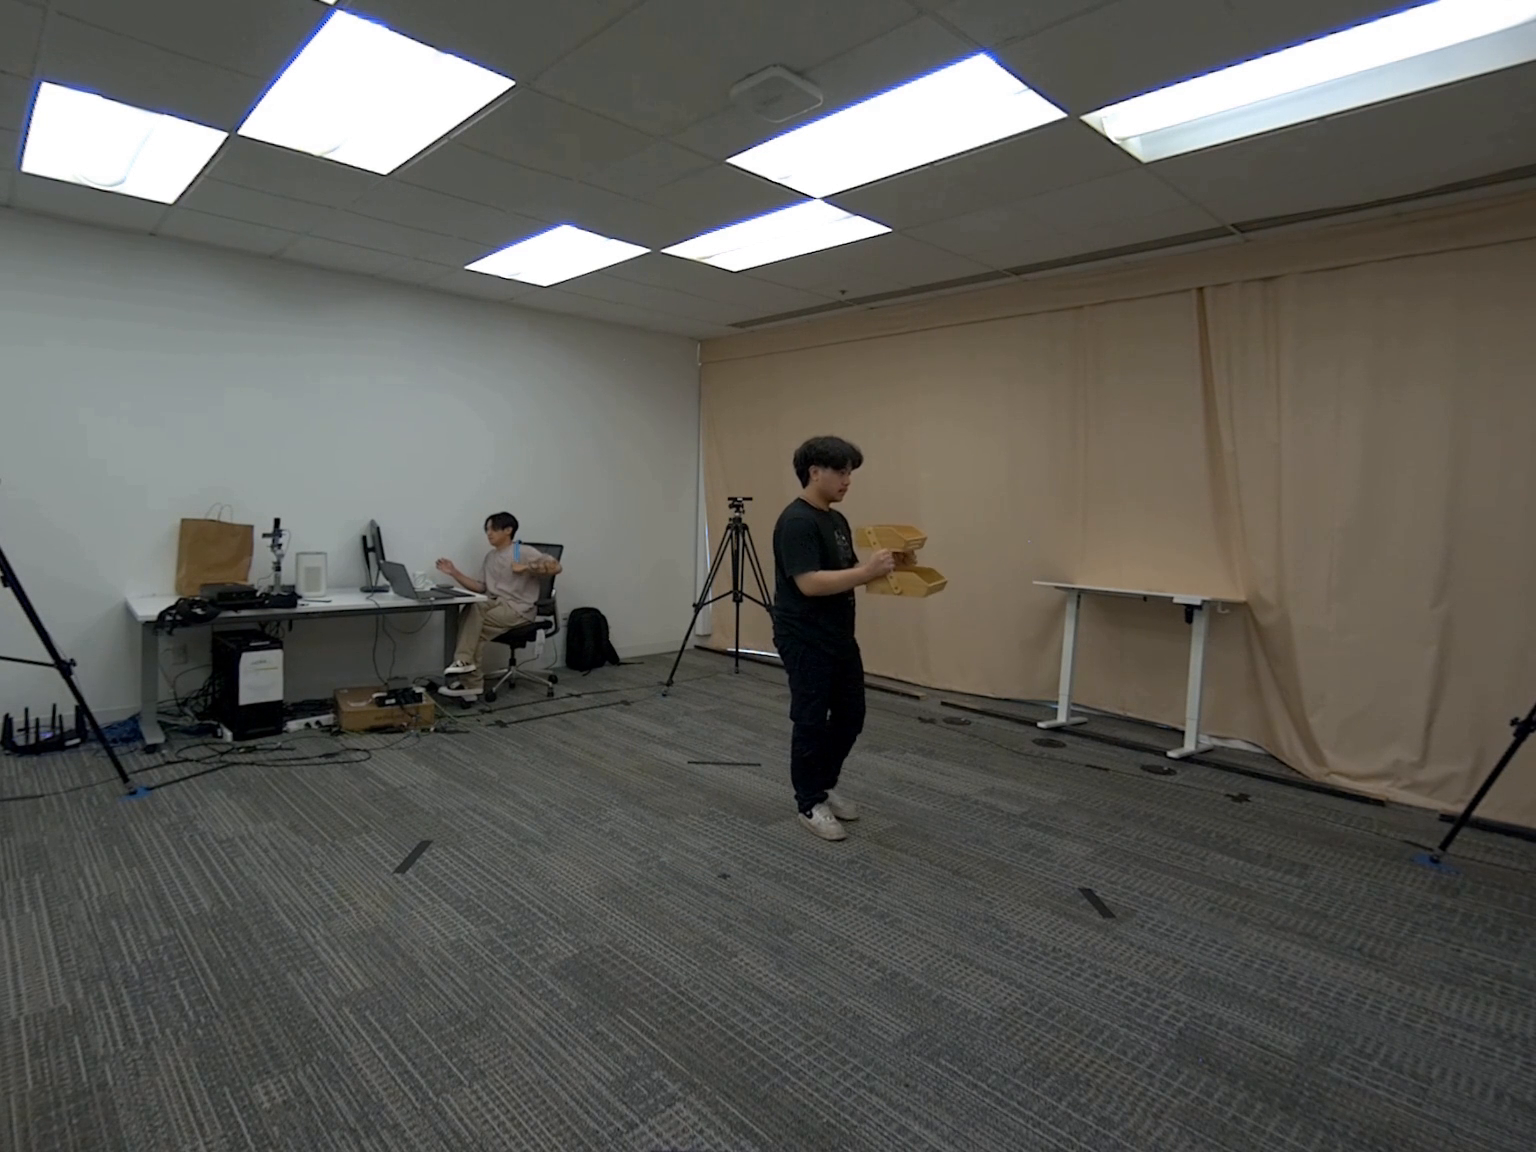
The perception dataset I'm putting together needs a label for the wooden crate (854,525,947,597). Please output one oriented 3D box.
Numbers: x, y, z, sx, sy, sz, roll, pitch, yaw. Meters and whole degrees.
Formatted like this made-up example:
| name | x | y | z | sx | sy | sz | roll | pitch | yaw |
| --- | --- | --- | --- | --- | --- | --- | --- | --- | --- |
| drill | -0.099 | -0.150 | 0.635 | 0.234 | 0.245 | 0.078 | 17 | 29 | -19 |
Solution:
| name | x | y | z | sx | sy | sz | roll | pitch | yaw |
| --- | --- | --- | --- | --- | --- | --- | --- | --- | --- |
| wooden crate | 0.537 | -0.075 | 3.379 | 0.308 | 0.273 | 0.319 | 2 | 4 | 24 |
